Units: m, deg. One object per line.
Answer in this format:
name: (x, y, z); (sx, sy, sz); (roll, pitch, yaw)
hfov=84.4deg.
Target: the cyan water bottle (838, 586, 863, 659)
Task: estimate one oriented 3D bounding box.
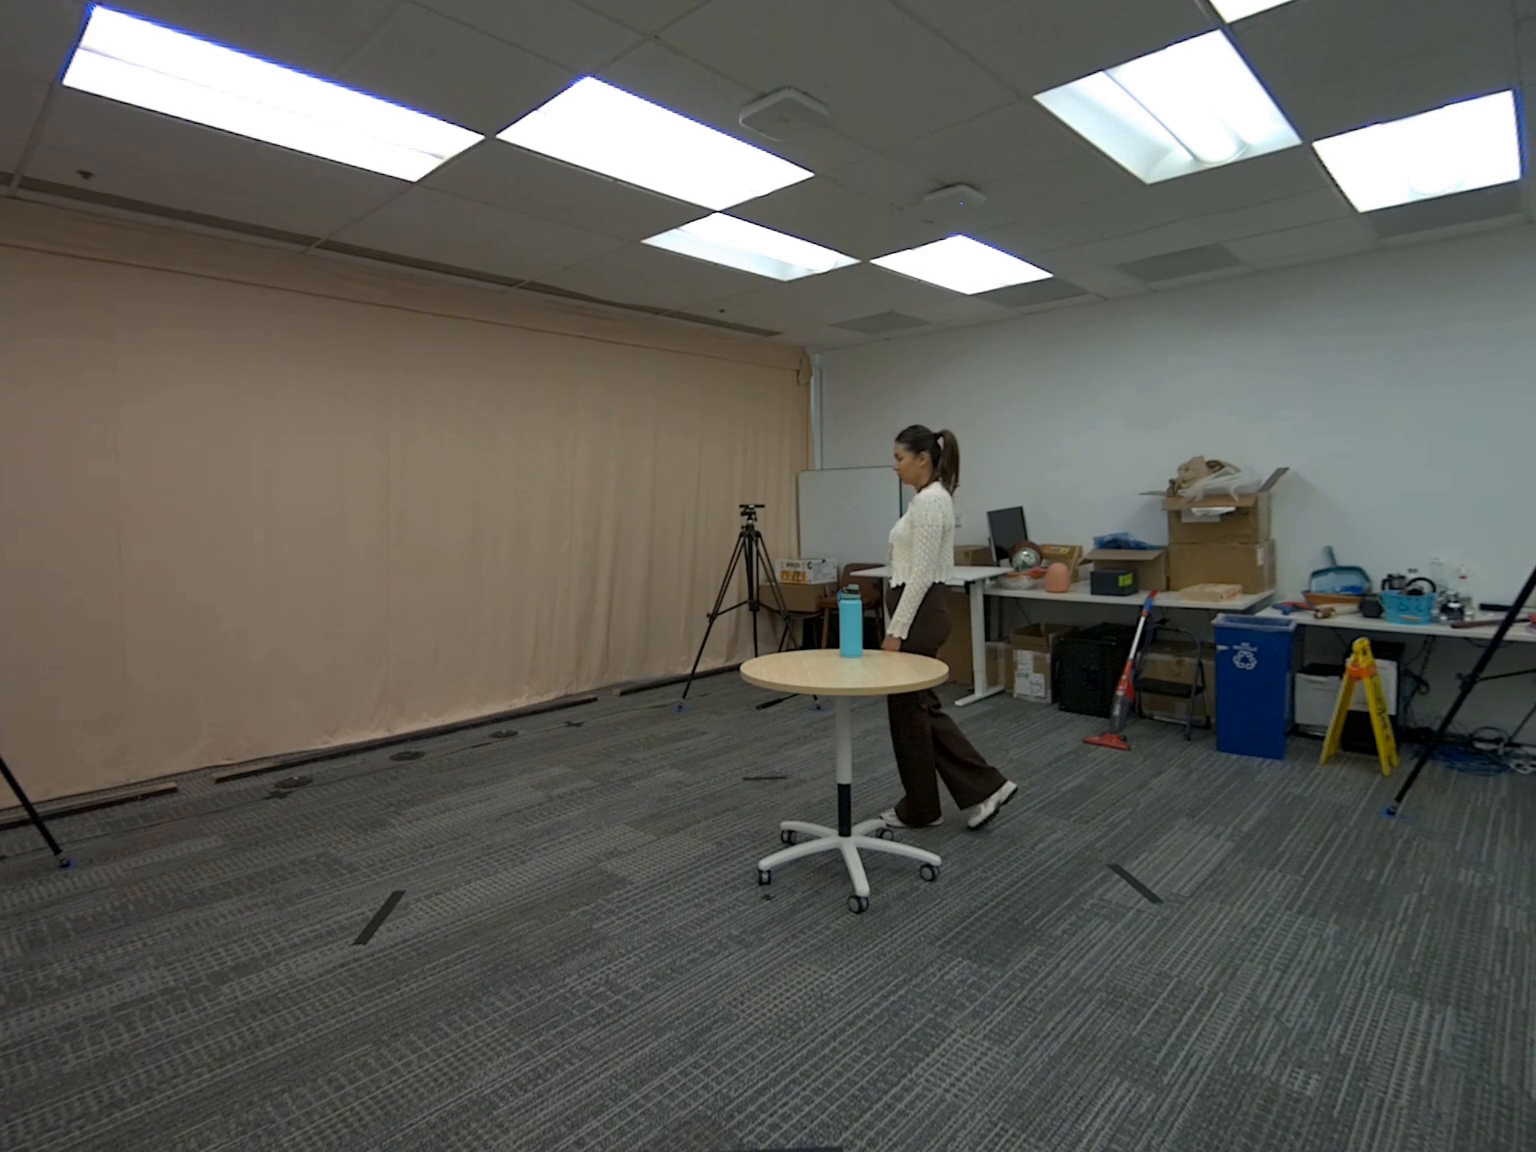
cyan water bottle: (0.337, 0.181, 3.360); (0.092, 0.283, 0.092); (-2, 0, -2)
